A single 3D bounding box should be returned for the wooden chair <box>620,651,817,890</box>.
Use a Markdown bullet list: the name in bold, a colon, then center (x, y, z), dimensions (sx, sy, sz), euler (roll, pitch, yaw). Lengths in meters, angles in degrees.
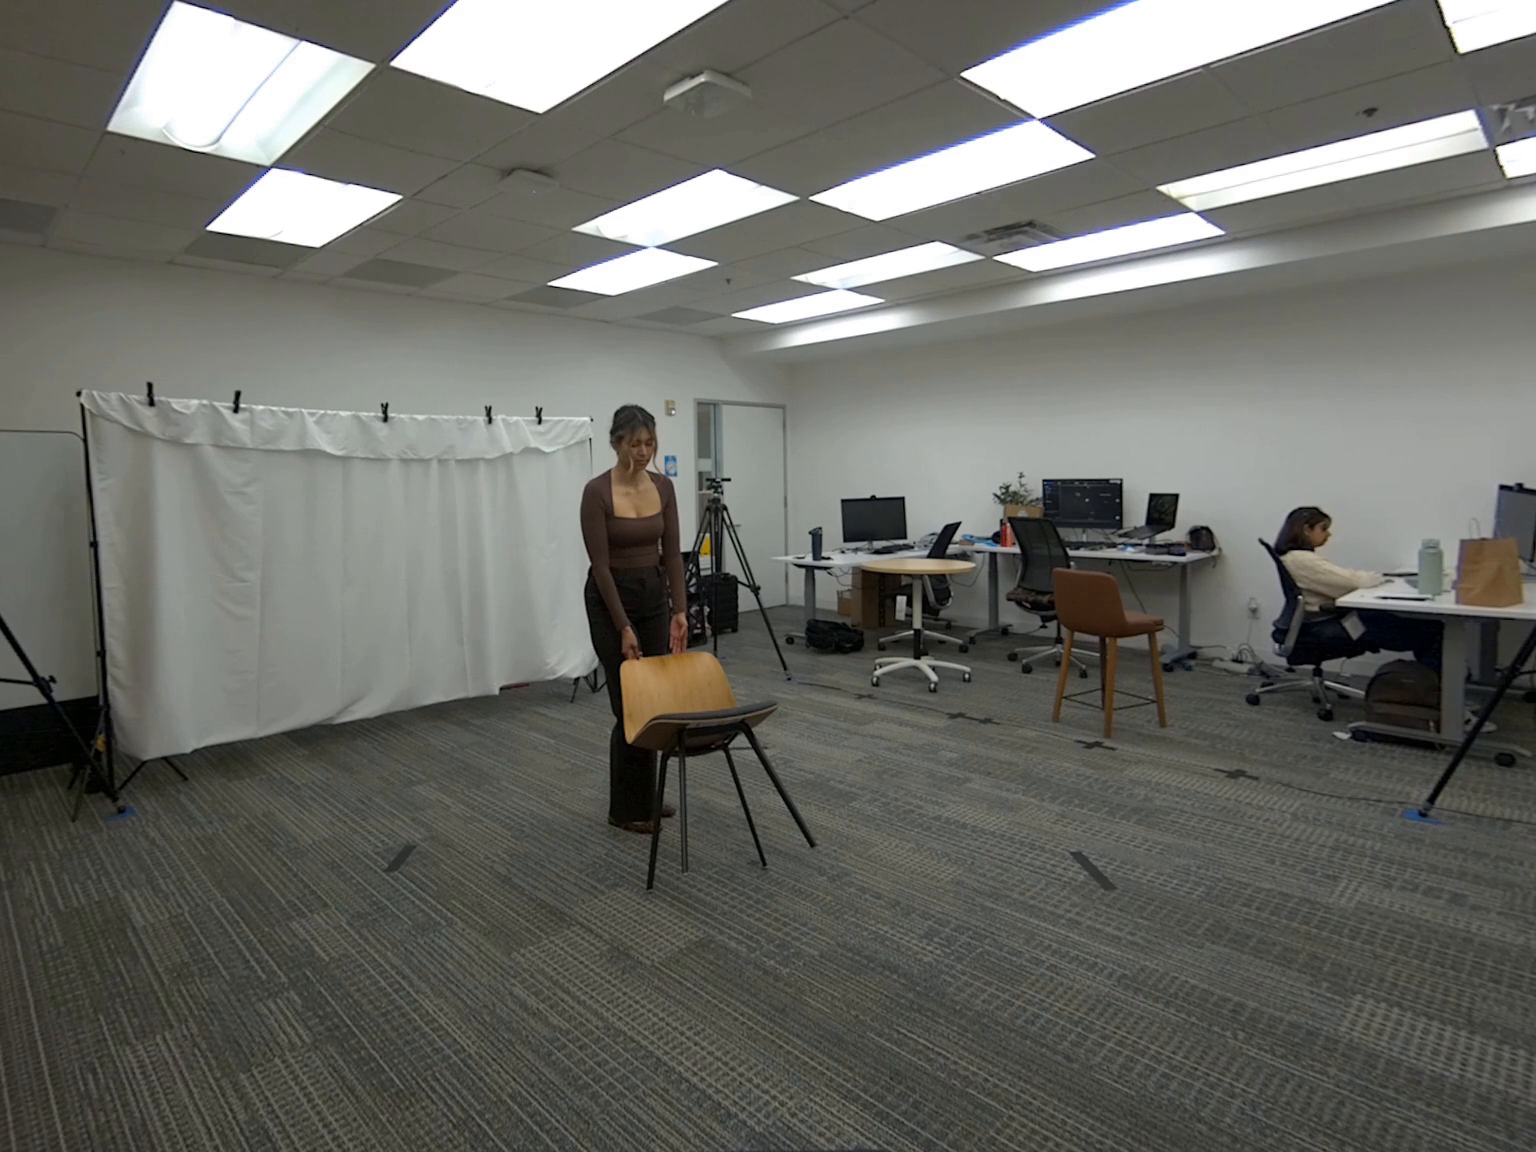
- **wooden chair**: center (-0.221, 0.573, 2.969), dimensions (0.469, 0.902, 0.519), euler (-3, -30, -23)
